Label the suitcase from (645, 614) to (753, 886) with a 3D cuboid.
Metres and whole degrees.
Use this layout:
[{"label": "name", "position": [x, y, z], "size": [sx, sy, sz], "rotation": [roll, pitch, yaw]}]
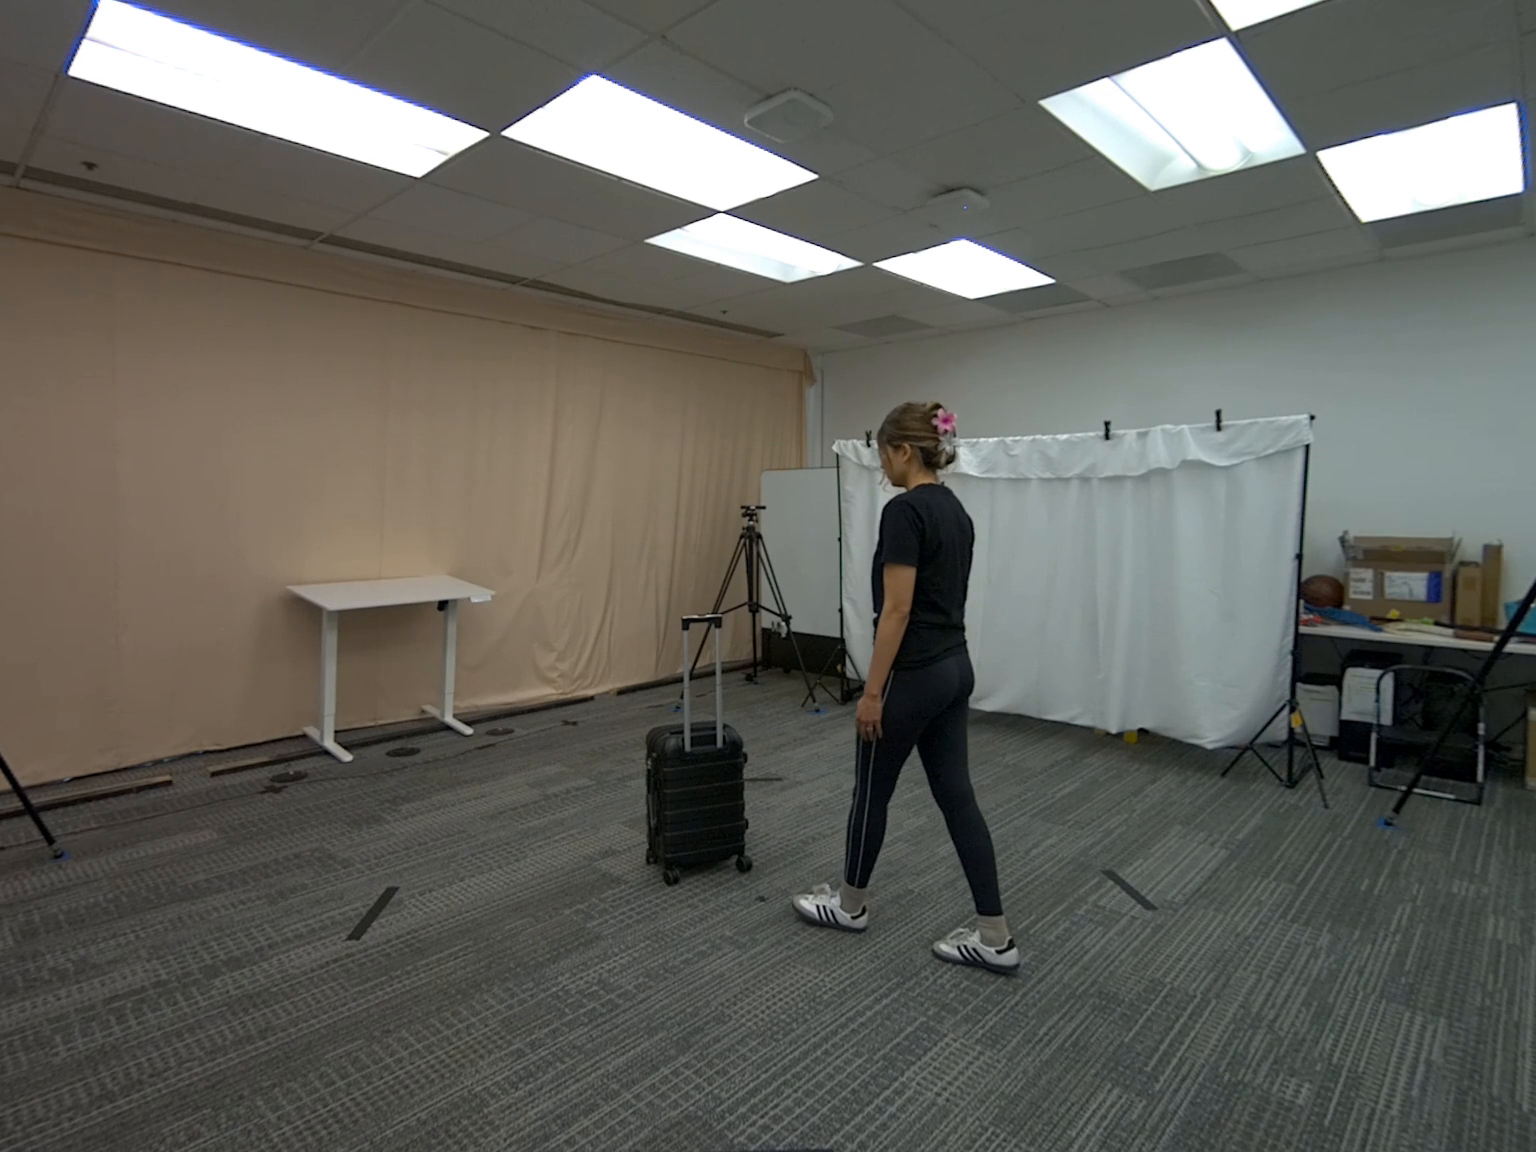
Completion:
[{"label": "suitcase", "position": [-0.287, 0.642, 3.258], "size": [0.377, 0.978, 0.262], "rotation": [-1, 0, -19]}]
